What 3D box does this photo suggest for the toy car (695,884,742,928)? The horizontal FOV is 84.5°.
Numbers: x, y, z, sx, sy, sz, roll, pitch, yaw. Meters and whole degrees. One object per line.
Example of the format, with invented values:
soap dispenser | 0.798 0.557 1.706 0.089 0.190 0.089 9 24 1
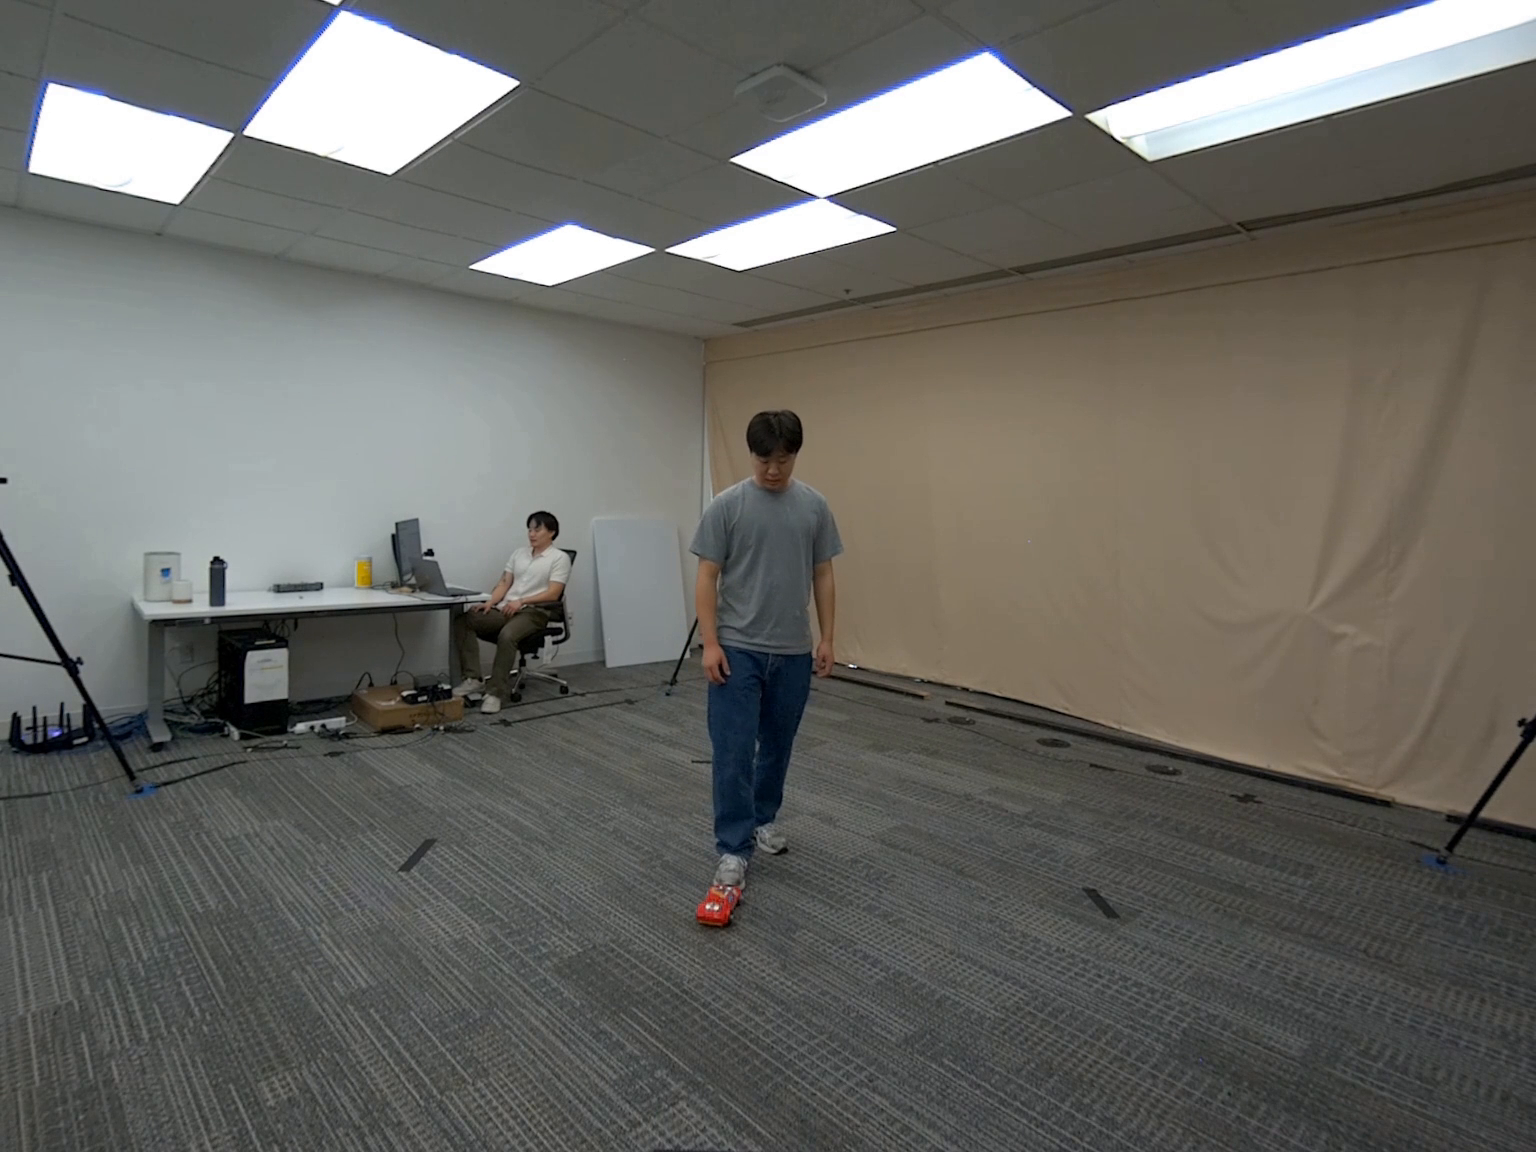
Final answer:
toy car | -0.178 1.104 2.796 0.131 0.083 0.251 4 -7 10
